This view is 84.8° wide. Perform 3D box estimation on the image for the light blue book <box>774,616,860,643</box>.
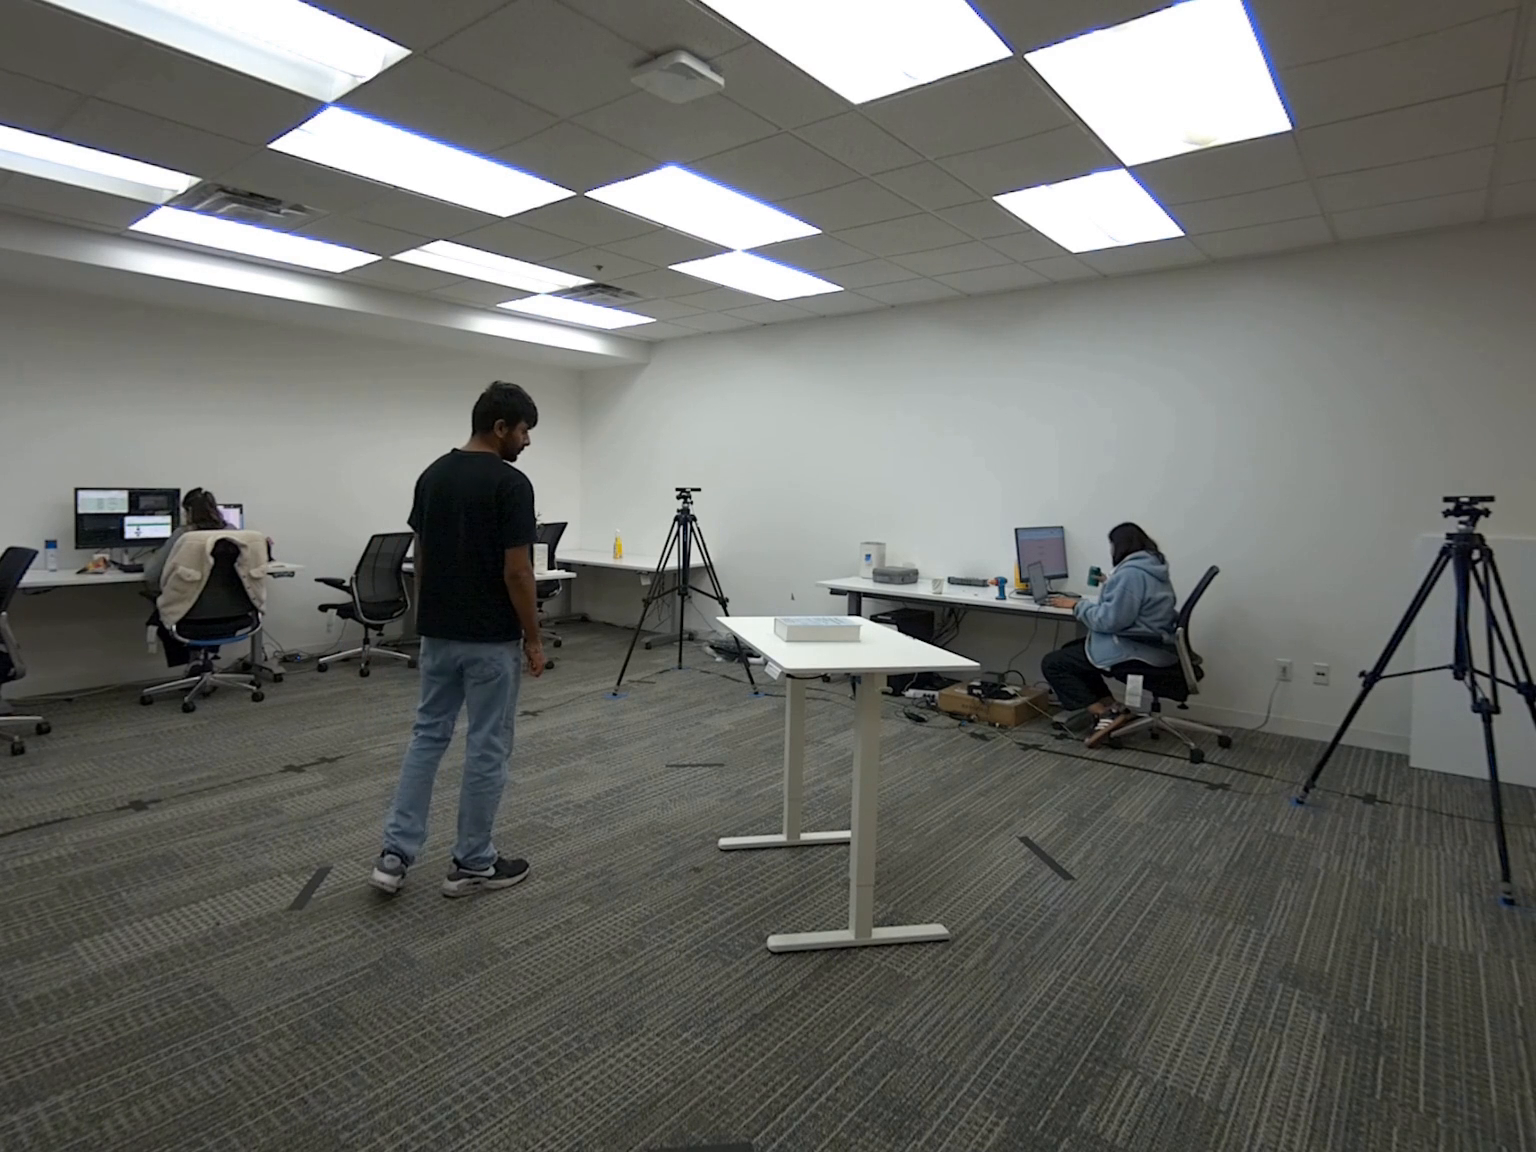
[{"bbox_3d":[0.161,0.186,2.927,0.258,0.059,0.194,2,6,-10],"label":"light blue book"}]
